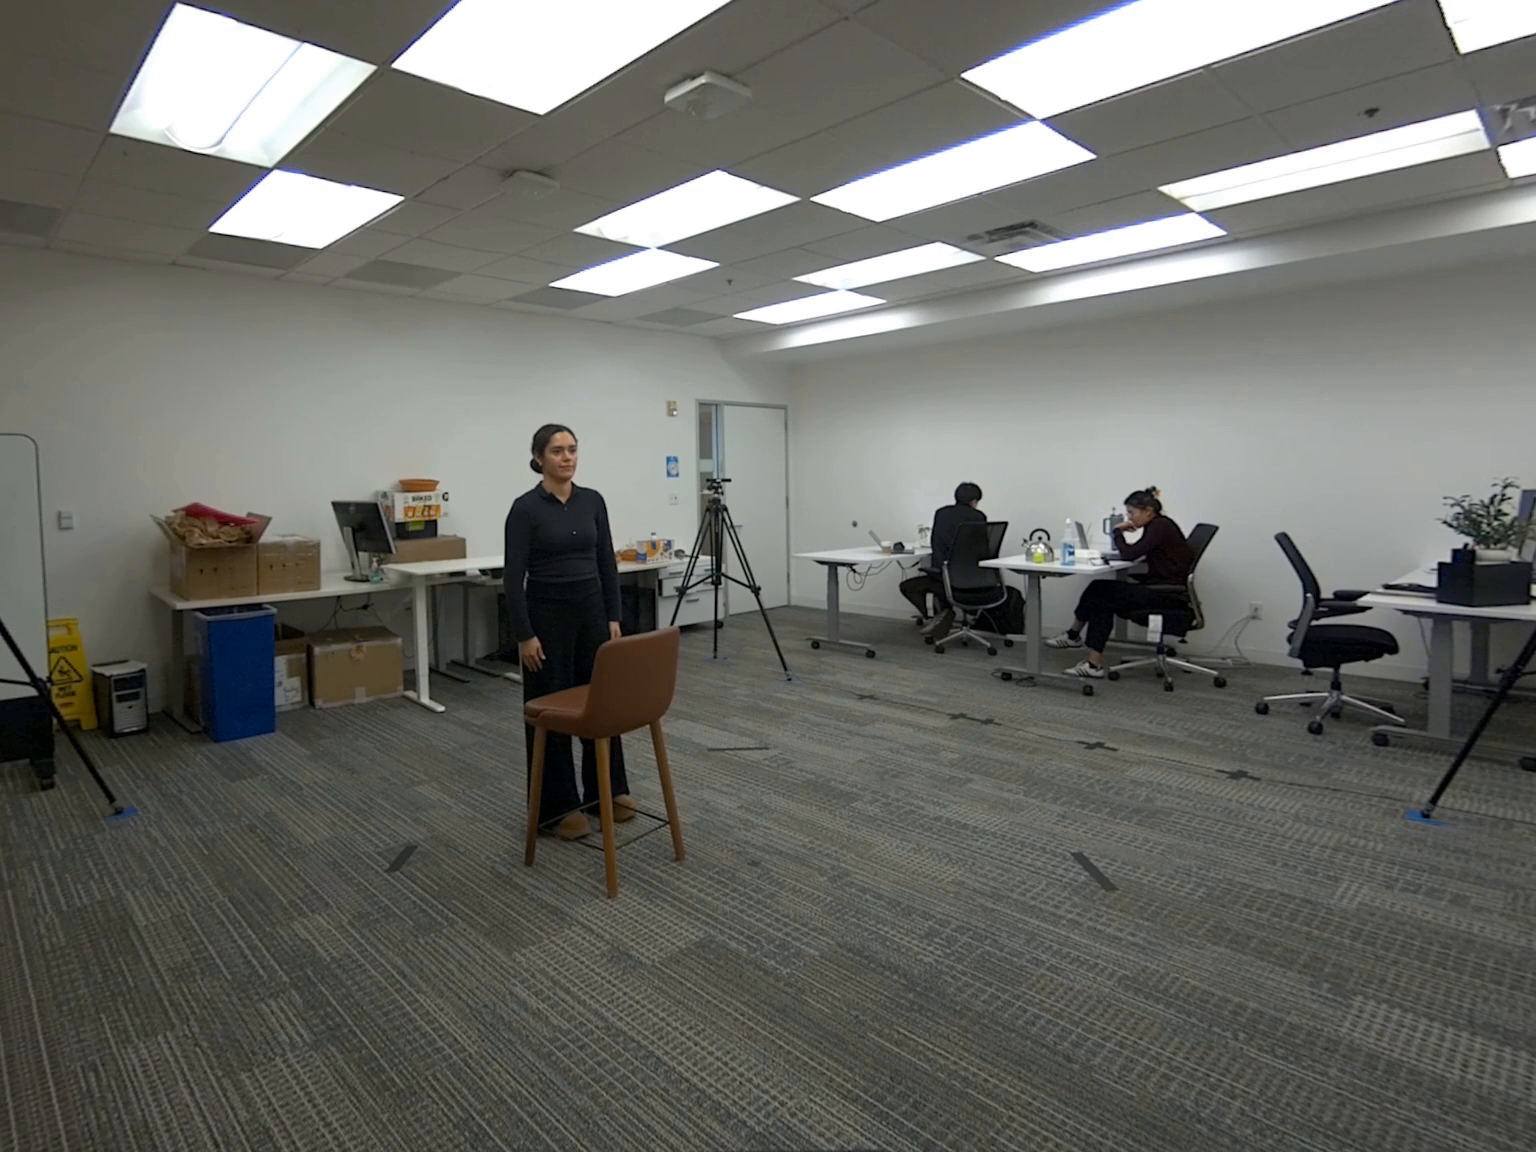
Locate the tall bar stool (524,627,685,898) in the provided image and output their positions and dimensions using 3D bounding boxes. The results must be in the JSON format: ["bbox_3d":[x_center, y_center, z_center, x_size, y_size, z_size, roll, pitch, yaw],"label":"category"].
[{"bbox_3d":[-0.602,0.618,3.112,0.481,0.886,0.445,4,6,37],"label":"tall bar stool"}]
